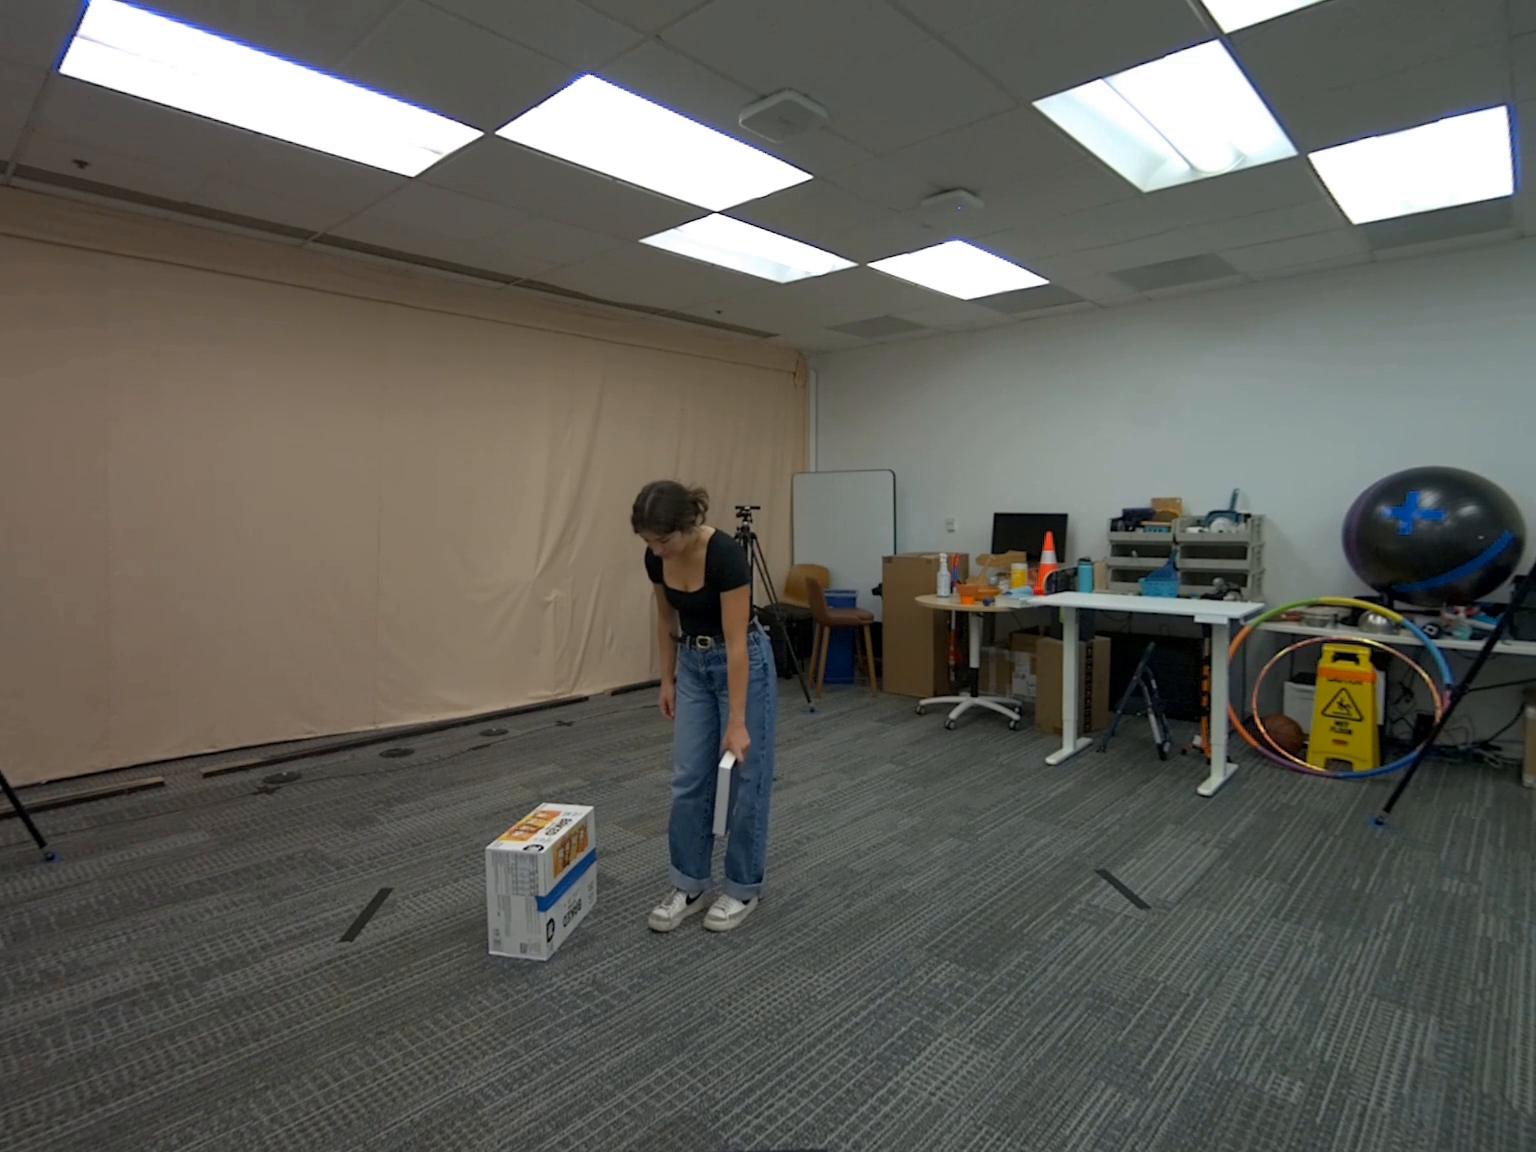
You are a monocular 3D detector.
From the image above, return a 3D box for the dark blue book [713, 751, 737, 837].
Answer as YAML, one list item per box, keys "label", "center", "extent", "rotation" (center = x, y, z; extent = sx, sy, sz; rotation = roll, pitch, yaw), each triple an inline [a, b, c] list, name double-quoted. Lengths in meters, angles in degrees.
- label: "dark blue book"
  center: [-0.129, 0.661, 2.617]
  extent: [0.045, 0.243, 0.163]
  rotation: [7, 16, 7]
